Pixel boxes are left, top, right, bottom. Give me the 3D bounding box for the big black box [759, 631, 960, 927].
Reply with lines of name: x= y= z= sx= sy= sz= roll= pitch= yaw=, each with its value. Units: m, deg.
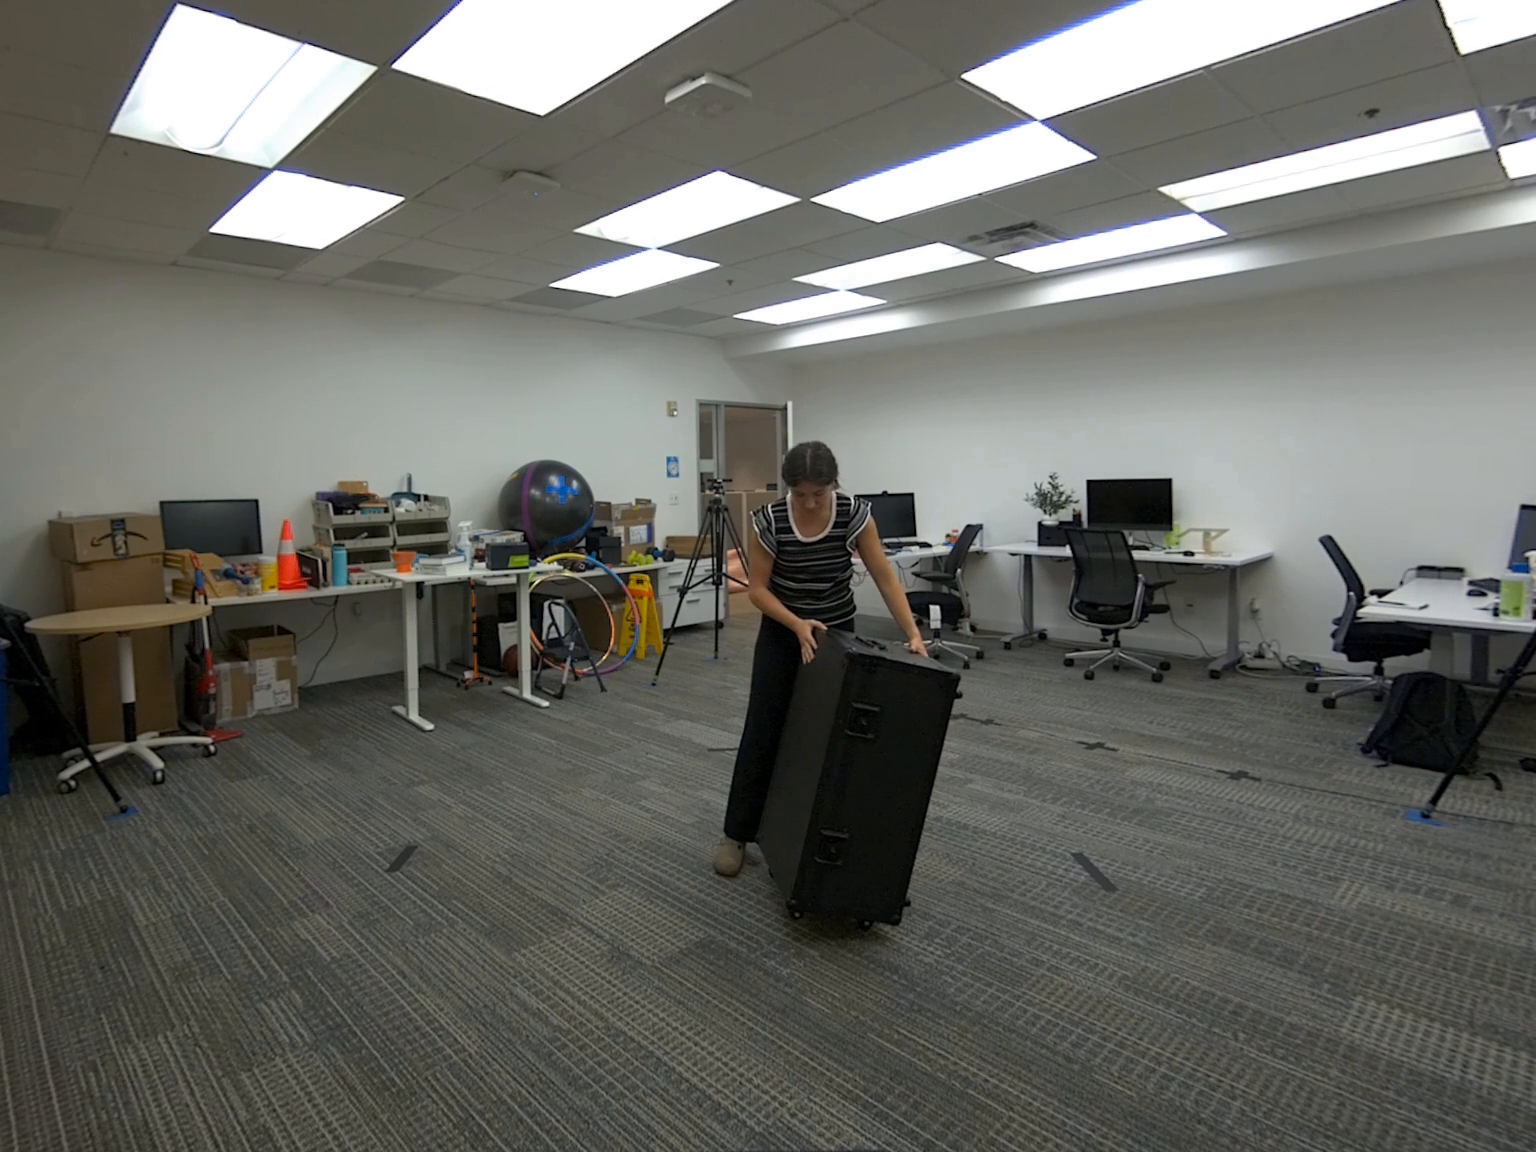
big black box: x=0.279 y=0.646 z=2.748 sx=0.392 sy=0.860 sz=0.527 roll=13 pitch=2 yaw=-10
